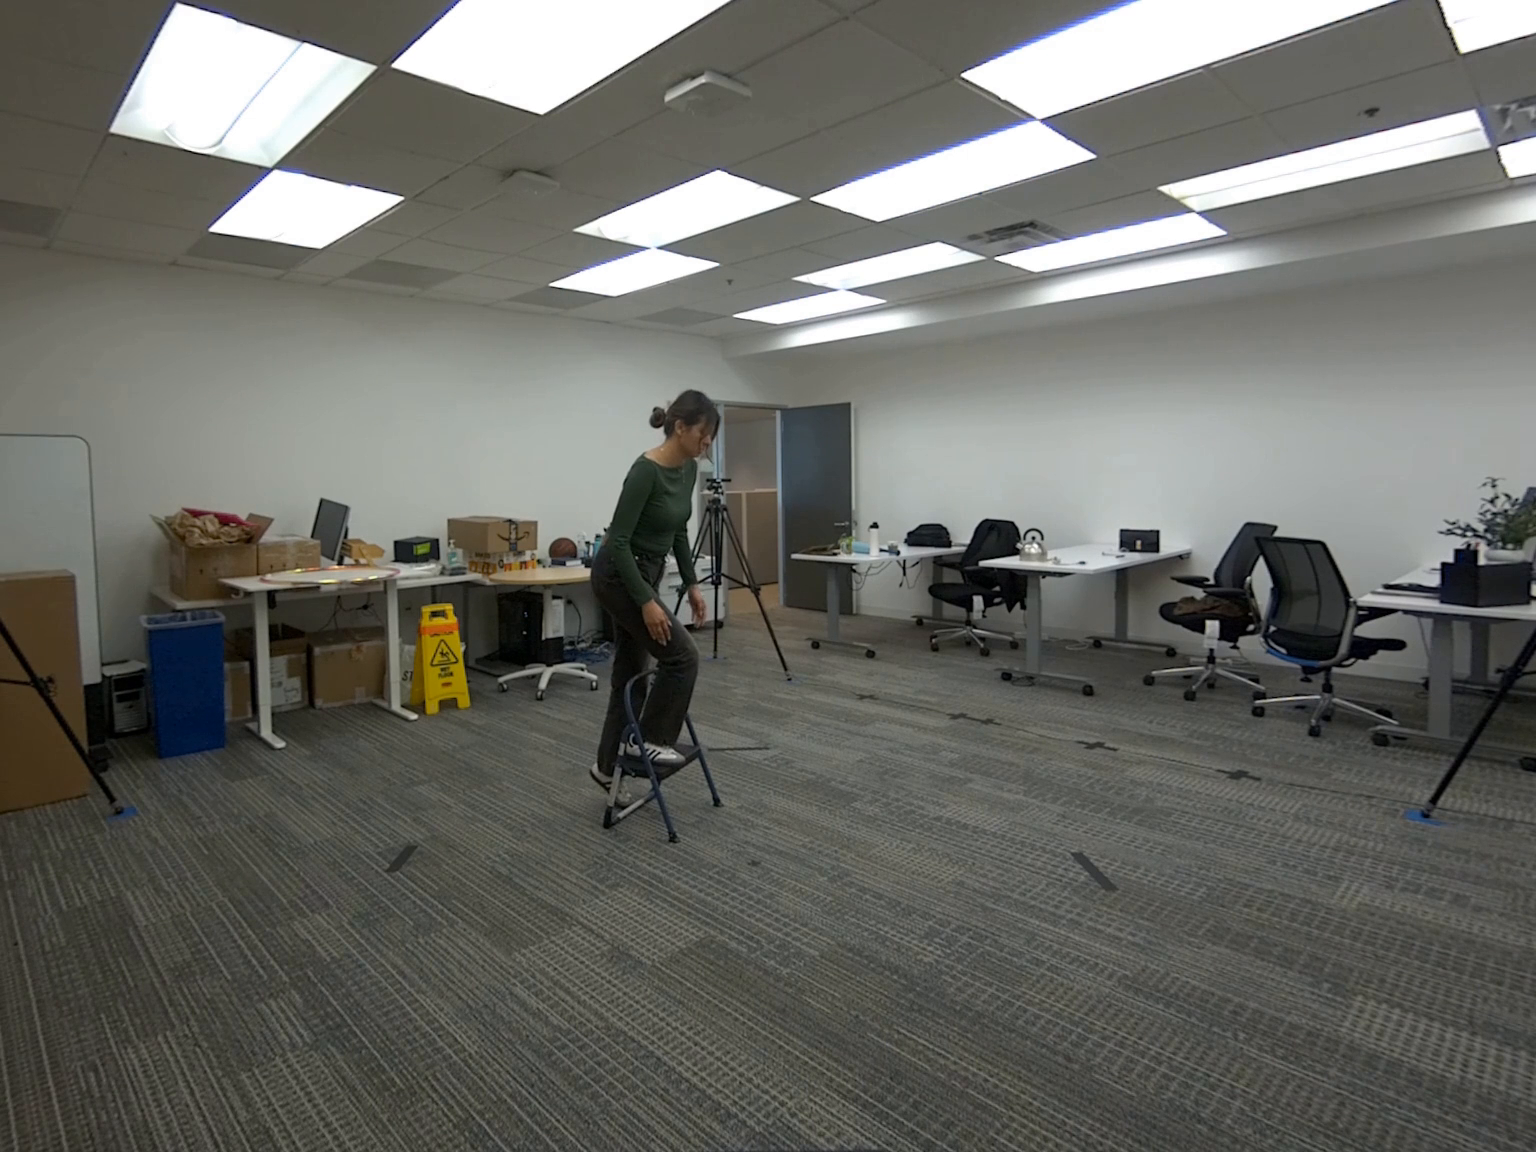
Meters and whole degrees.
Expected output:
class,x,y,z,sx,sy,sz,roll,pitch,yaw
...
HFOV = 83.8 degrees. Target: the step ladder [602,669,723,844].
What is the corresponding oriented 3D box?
class,x,y,z,sx,sy,sz,roll,pitch,yaw
step ladder,-0.433,0.700,3.533,0.357,0.604,0.423,0,5,23
